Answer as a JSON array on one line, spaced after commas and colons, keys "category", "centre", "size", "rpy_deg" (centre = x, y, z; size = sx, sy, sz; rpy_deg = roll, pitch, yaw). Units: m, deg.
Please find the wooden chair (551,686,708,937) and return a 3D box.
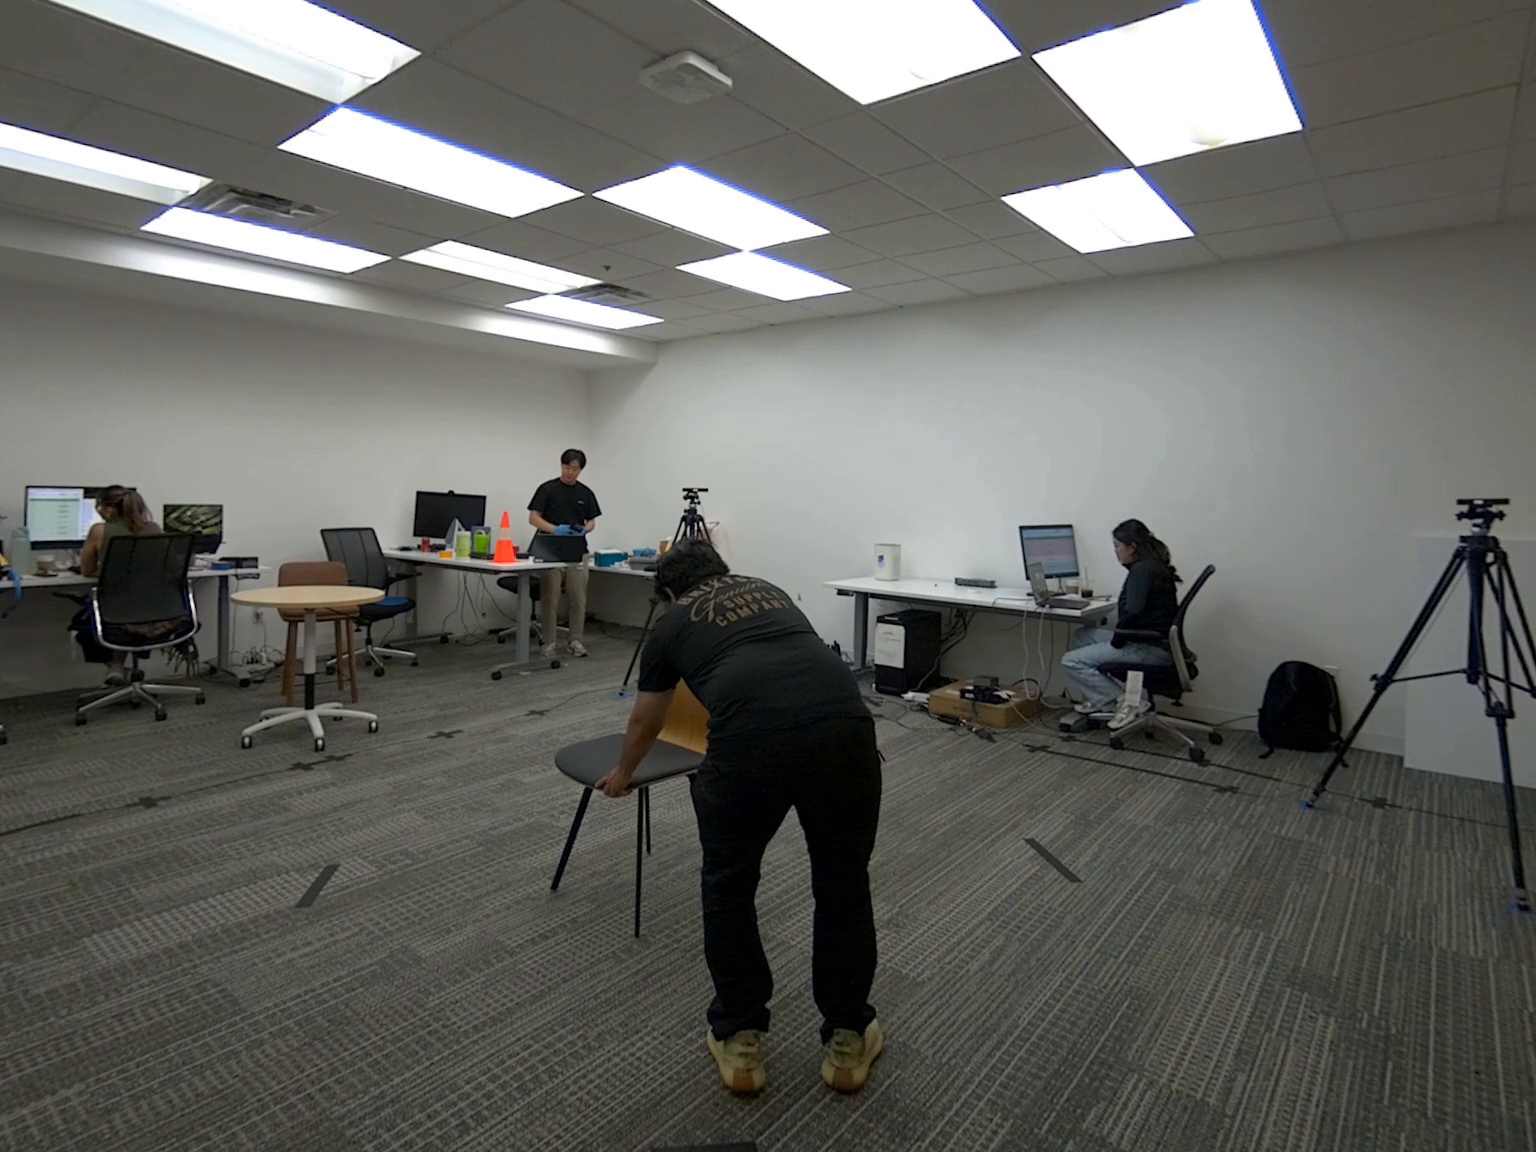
[{"category": "wooden chair", "centre": [-0.439, 0.659, 2.900], "size": [0.494, 0.877, 0.506], "rpy_deg": [4, 0, 42]}]
